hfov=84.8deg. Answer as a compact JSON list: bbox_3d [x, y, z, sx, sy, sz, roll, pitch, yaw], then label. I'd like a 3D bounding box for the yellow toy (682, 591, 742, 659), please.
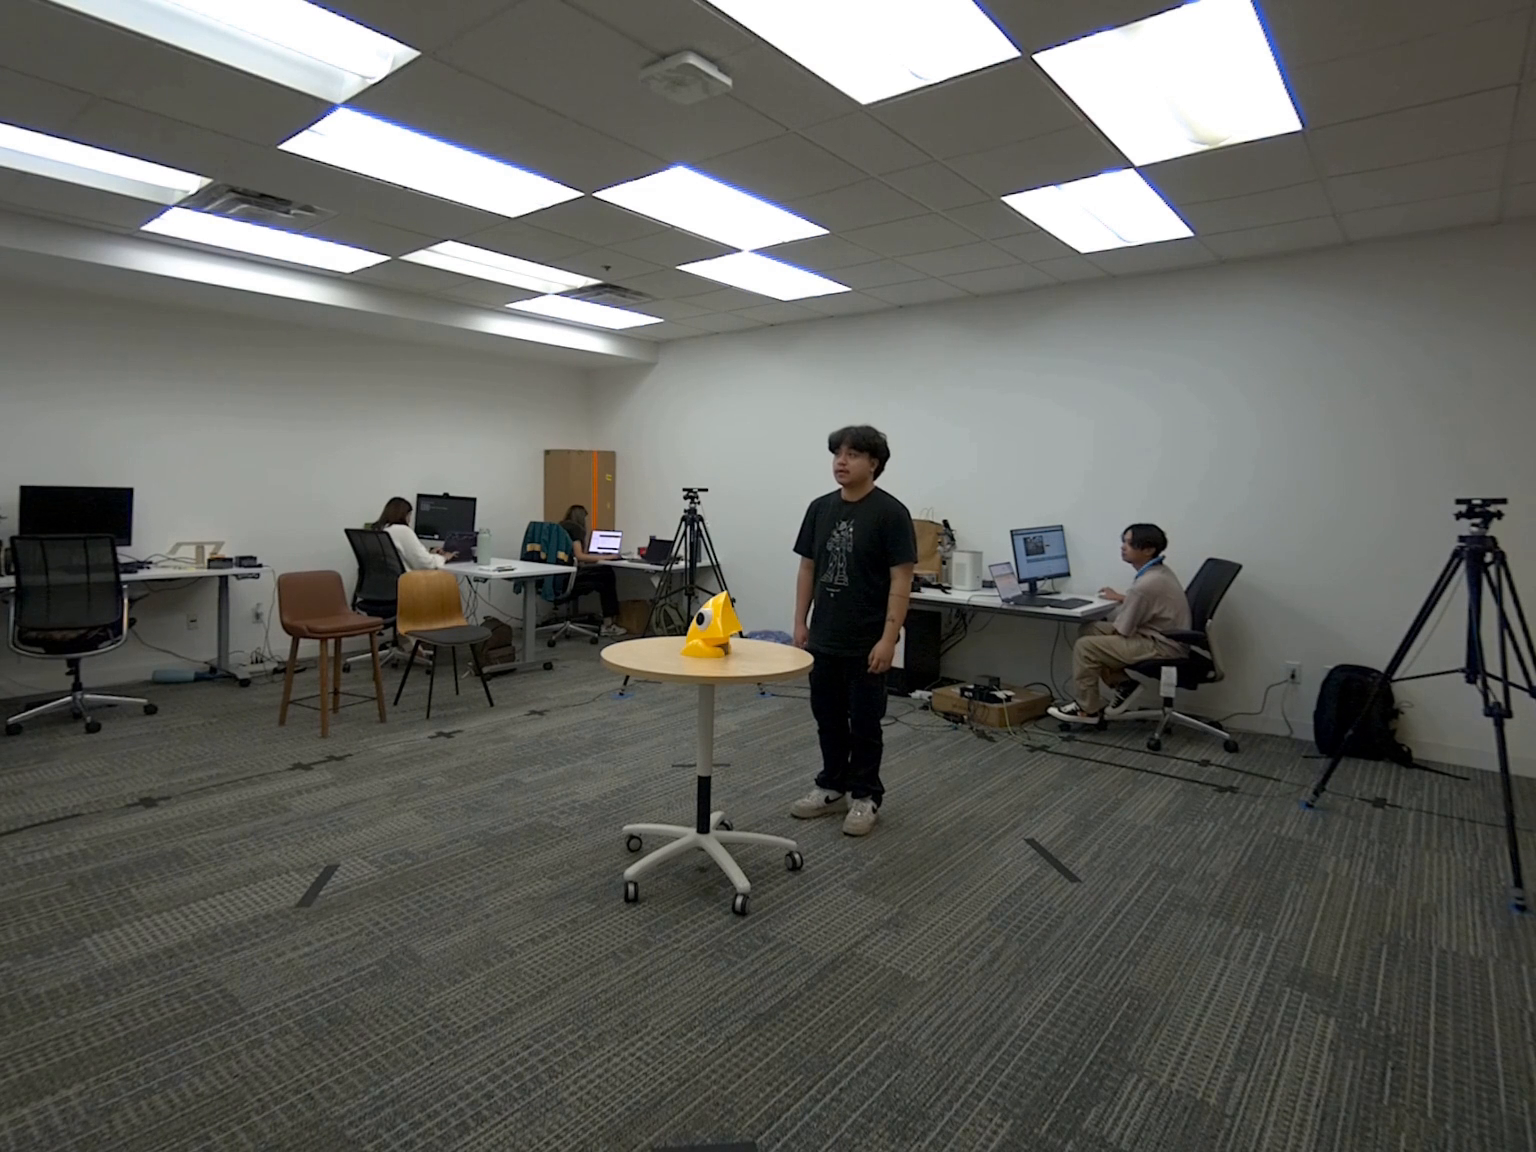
[{"bbox_3d":[-0.220,0.165,3.094,0.197,0.230,0.201,2,3,20],"label":"yellow toy"}]
